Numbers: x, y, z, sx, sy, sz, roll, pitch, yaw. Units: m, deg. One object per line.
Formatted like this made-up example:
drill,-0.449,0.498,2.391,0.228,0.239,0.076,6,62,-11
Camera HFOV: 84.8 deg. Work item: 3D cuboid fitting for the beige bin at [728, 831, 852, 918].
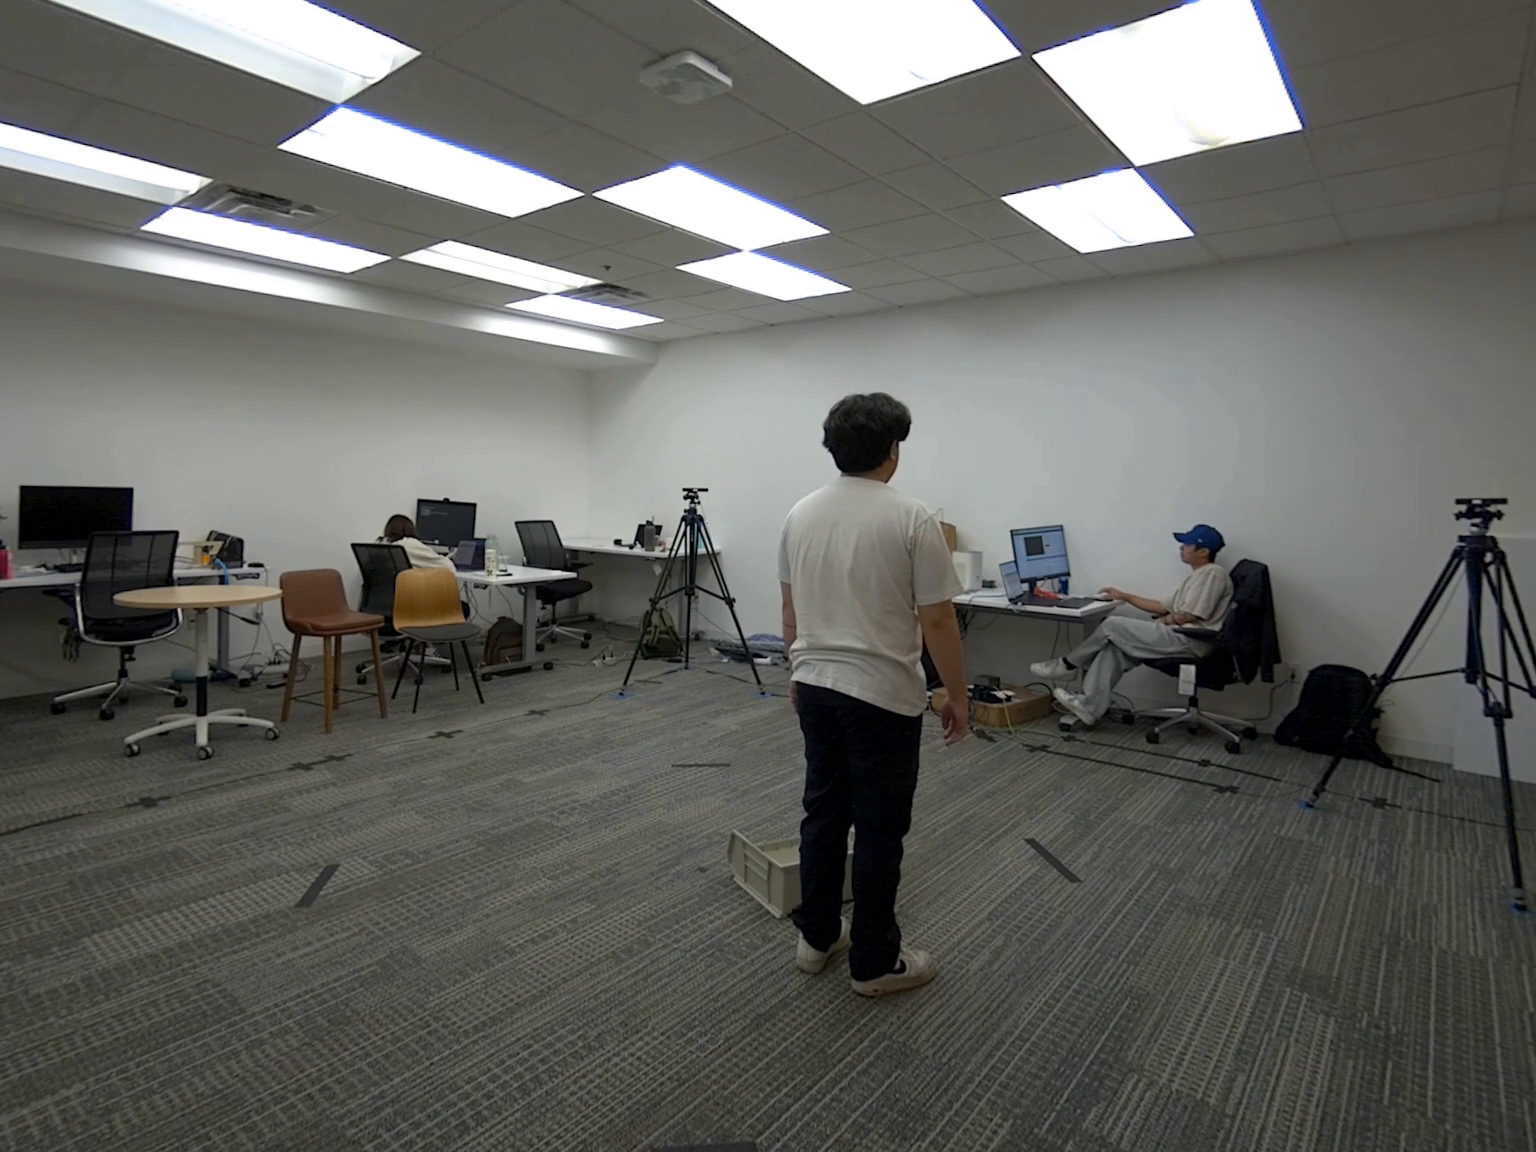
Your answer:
beige bin,0.117,0.996,2.996,0.411,0.188,0.389,-1,6,-29
